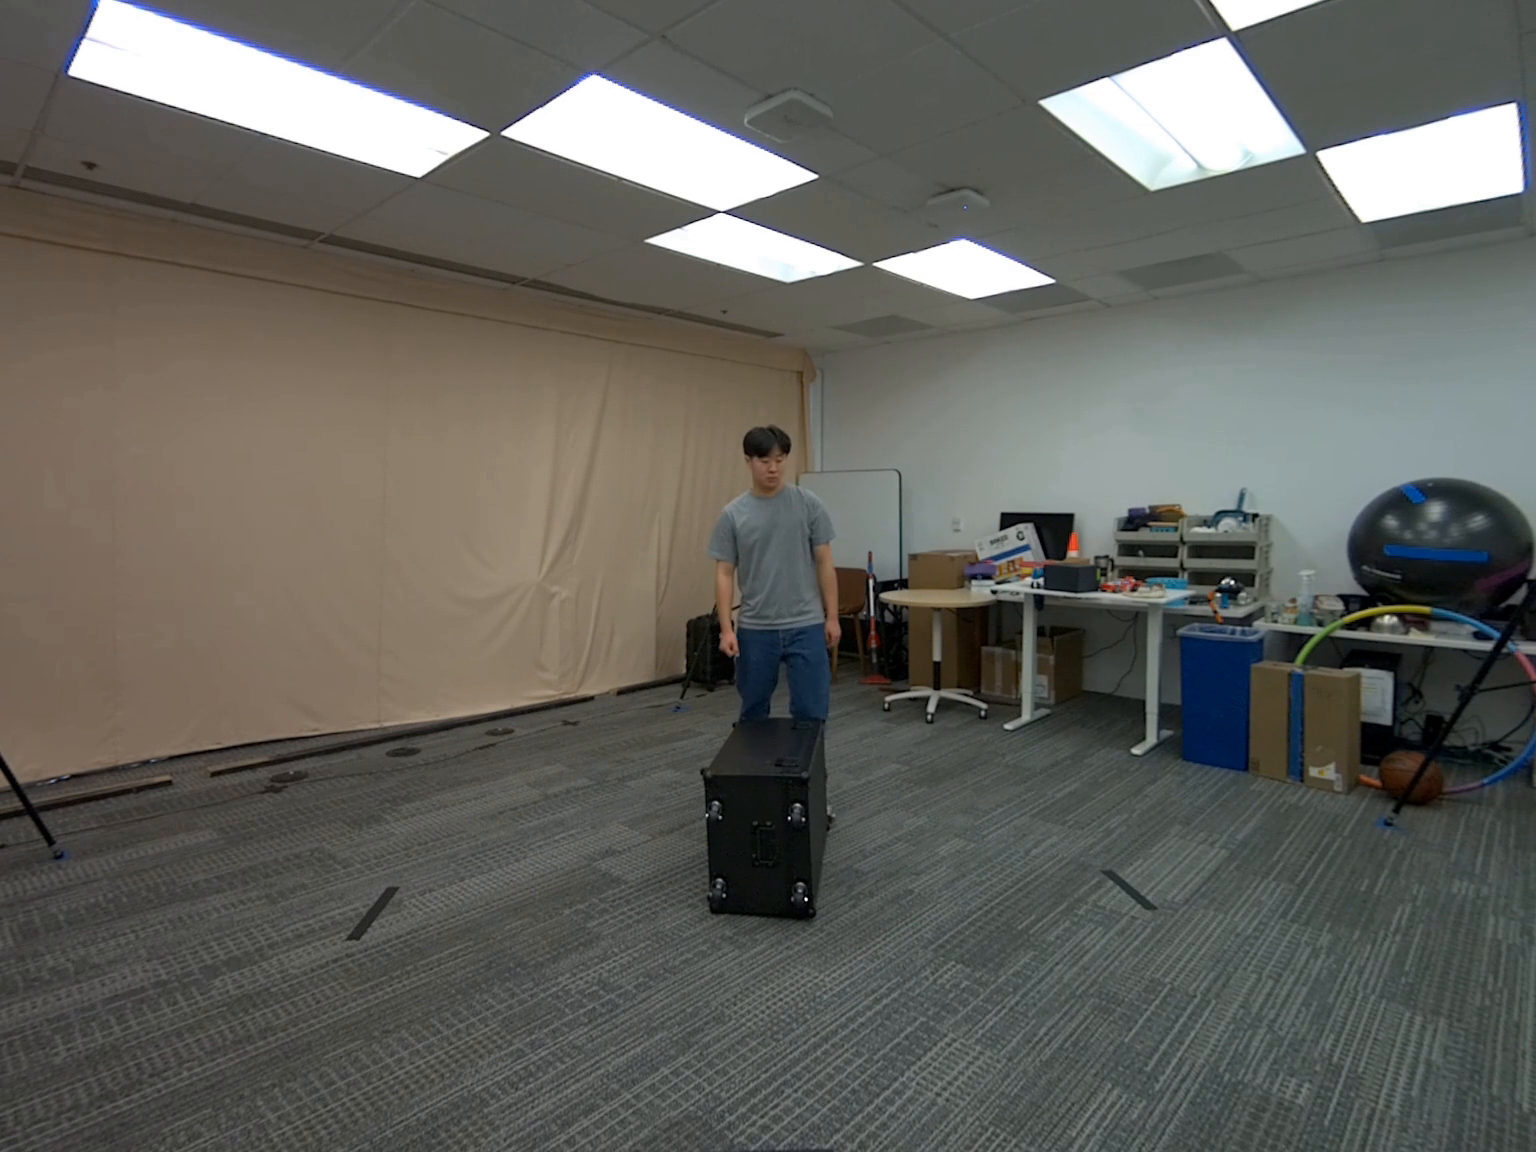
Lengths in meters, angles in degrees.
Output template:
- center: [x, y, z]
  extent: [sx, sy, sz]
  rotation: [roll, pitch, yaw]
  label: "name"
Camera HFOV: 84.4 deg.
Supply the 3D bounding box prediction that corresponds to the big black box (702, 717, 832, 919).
- center: [0.014, 0.867, 3.238]
  extent: [0.401, 0.520, 0.853]
  rotation: [-1, 4, 9]
  label: "big black box"
